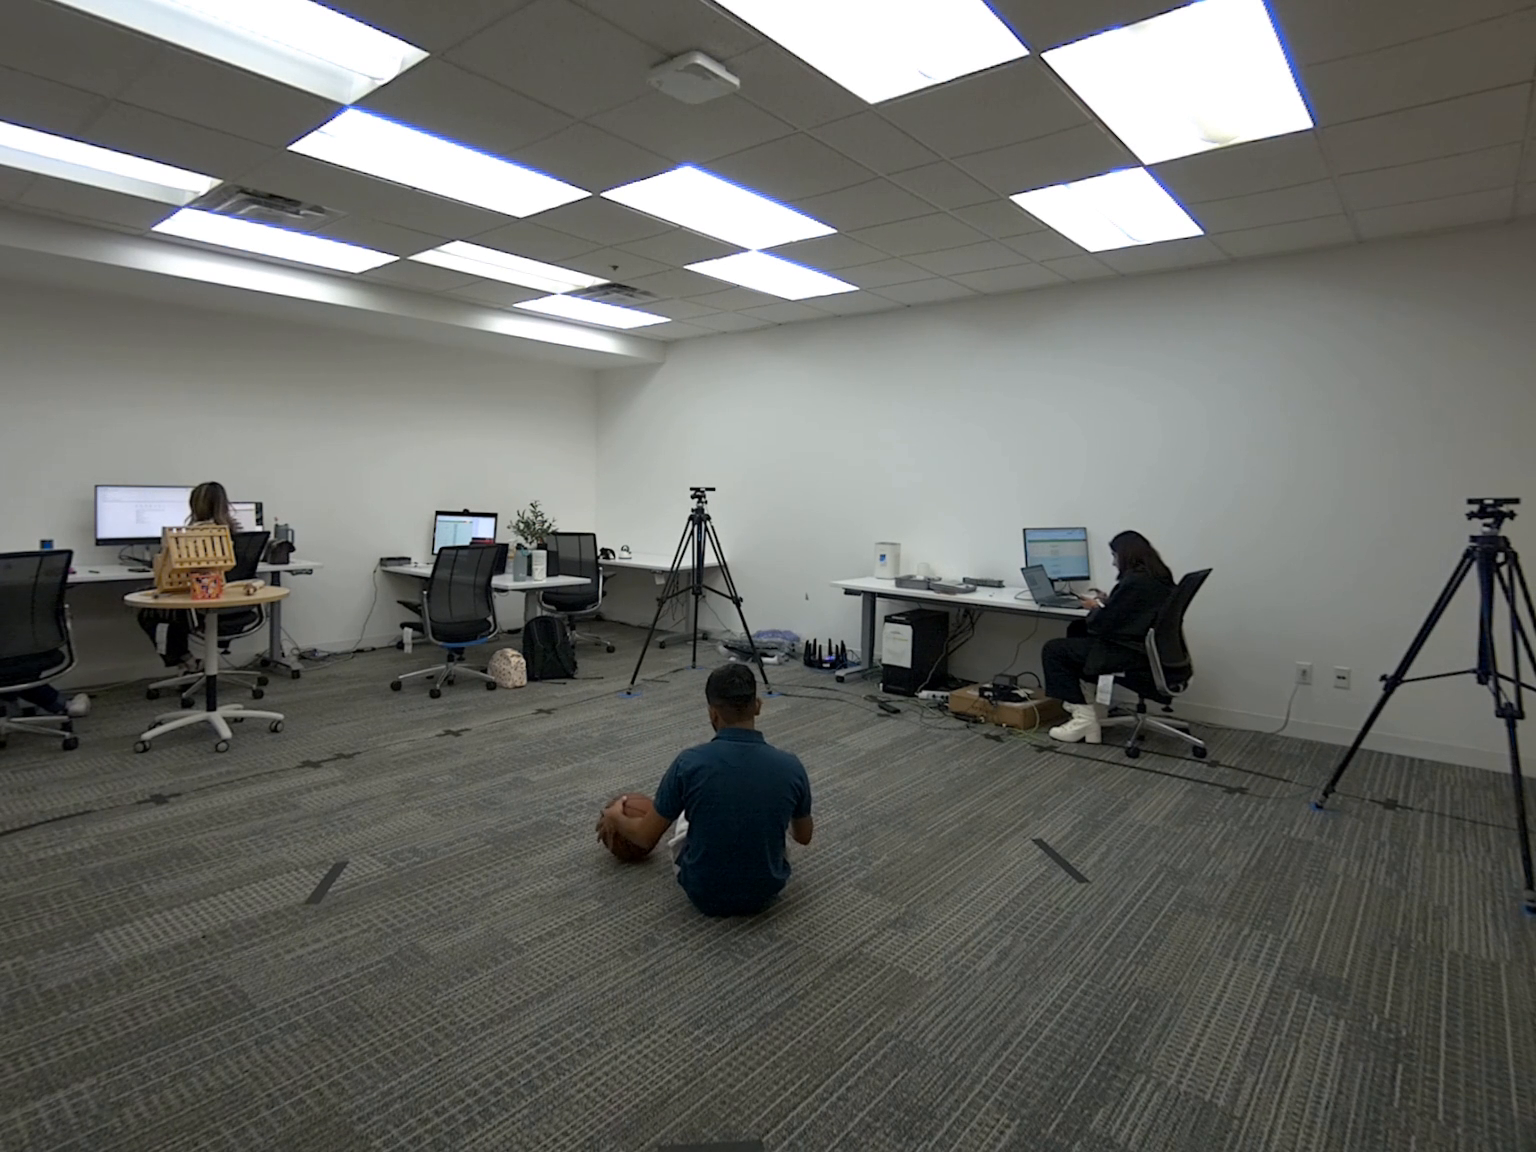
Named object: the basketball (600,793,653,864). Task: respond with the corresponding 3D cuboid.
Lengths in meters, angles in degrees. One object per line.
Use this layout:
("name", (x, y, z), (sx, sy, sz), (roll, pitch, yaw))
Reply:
("basketball", (-0.517, 0.930, 3.194), (0.235, 0.235, 0.237), (1, 4, -2))
